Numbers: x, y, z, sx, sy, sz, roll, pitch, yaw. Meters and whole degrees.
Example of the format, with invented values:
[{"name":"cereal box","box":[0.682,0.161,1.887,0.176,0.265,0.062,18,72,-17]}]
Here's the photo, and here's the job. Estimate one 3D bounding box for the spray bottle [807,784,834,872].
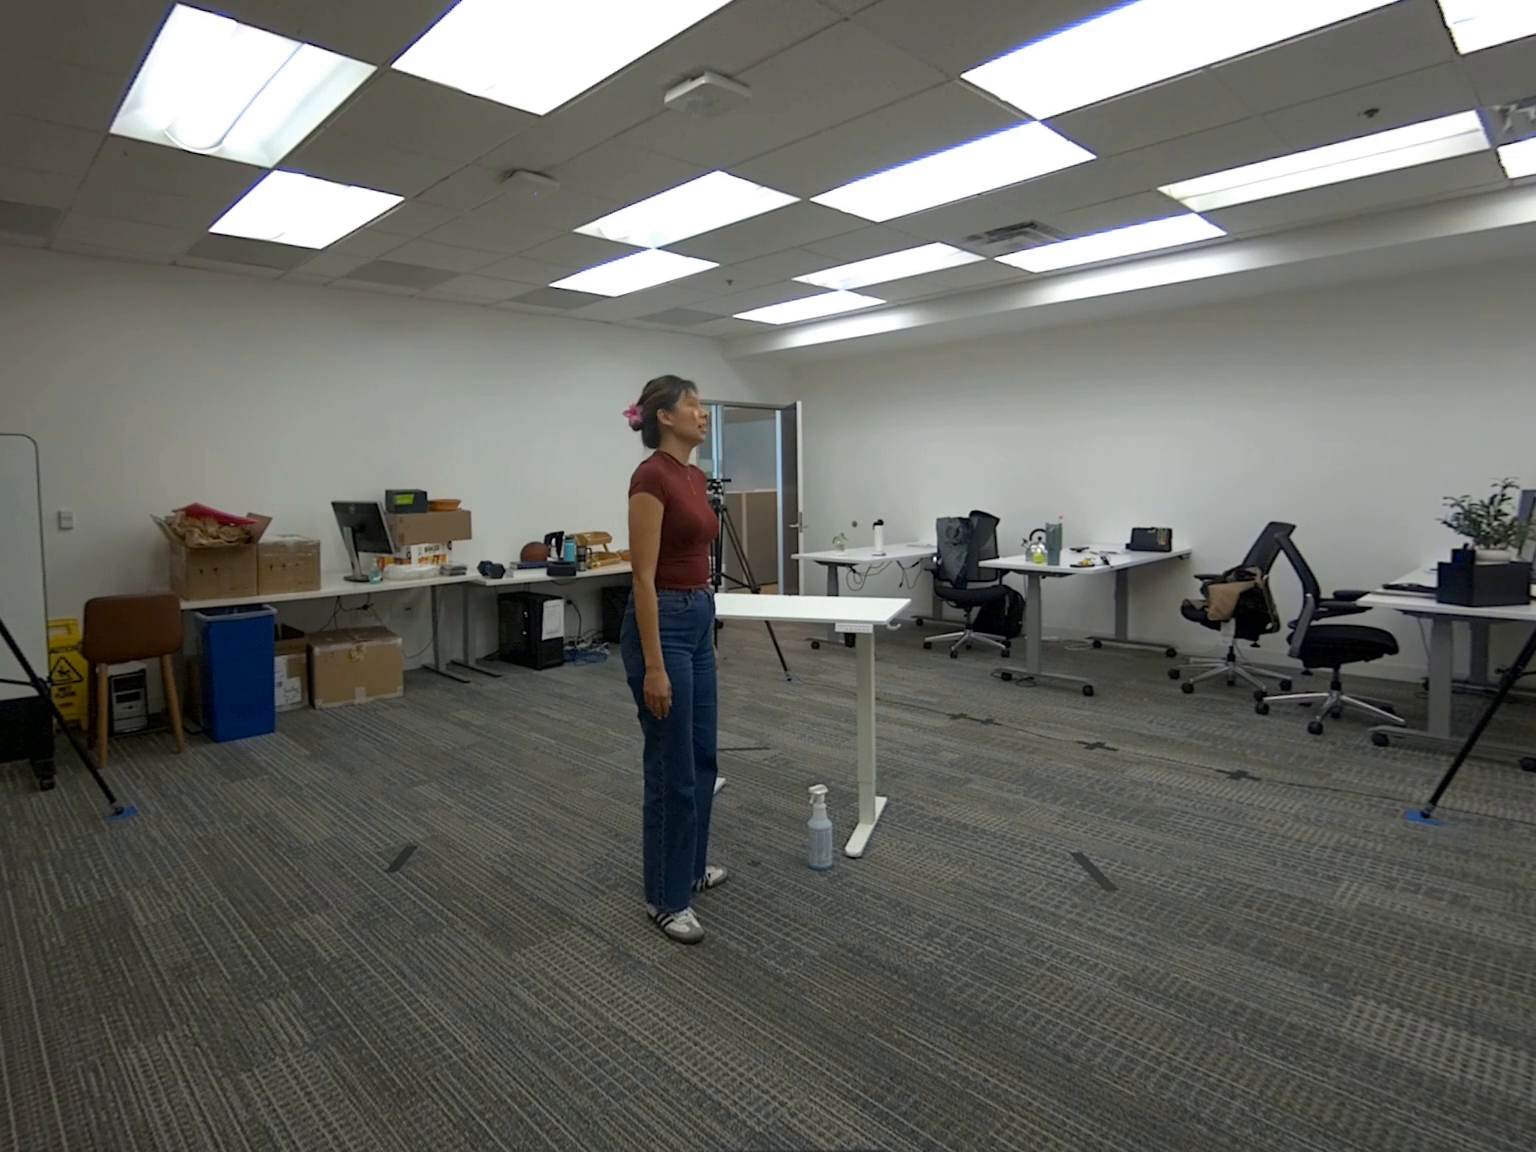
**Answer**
[{"name":"spray bottle","box":[0.186,0.897,3.068,0.089,0.296,0.088,-3,4,-14]}]
